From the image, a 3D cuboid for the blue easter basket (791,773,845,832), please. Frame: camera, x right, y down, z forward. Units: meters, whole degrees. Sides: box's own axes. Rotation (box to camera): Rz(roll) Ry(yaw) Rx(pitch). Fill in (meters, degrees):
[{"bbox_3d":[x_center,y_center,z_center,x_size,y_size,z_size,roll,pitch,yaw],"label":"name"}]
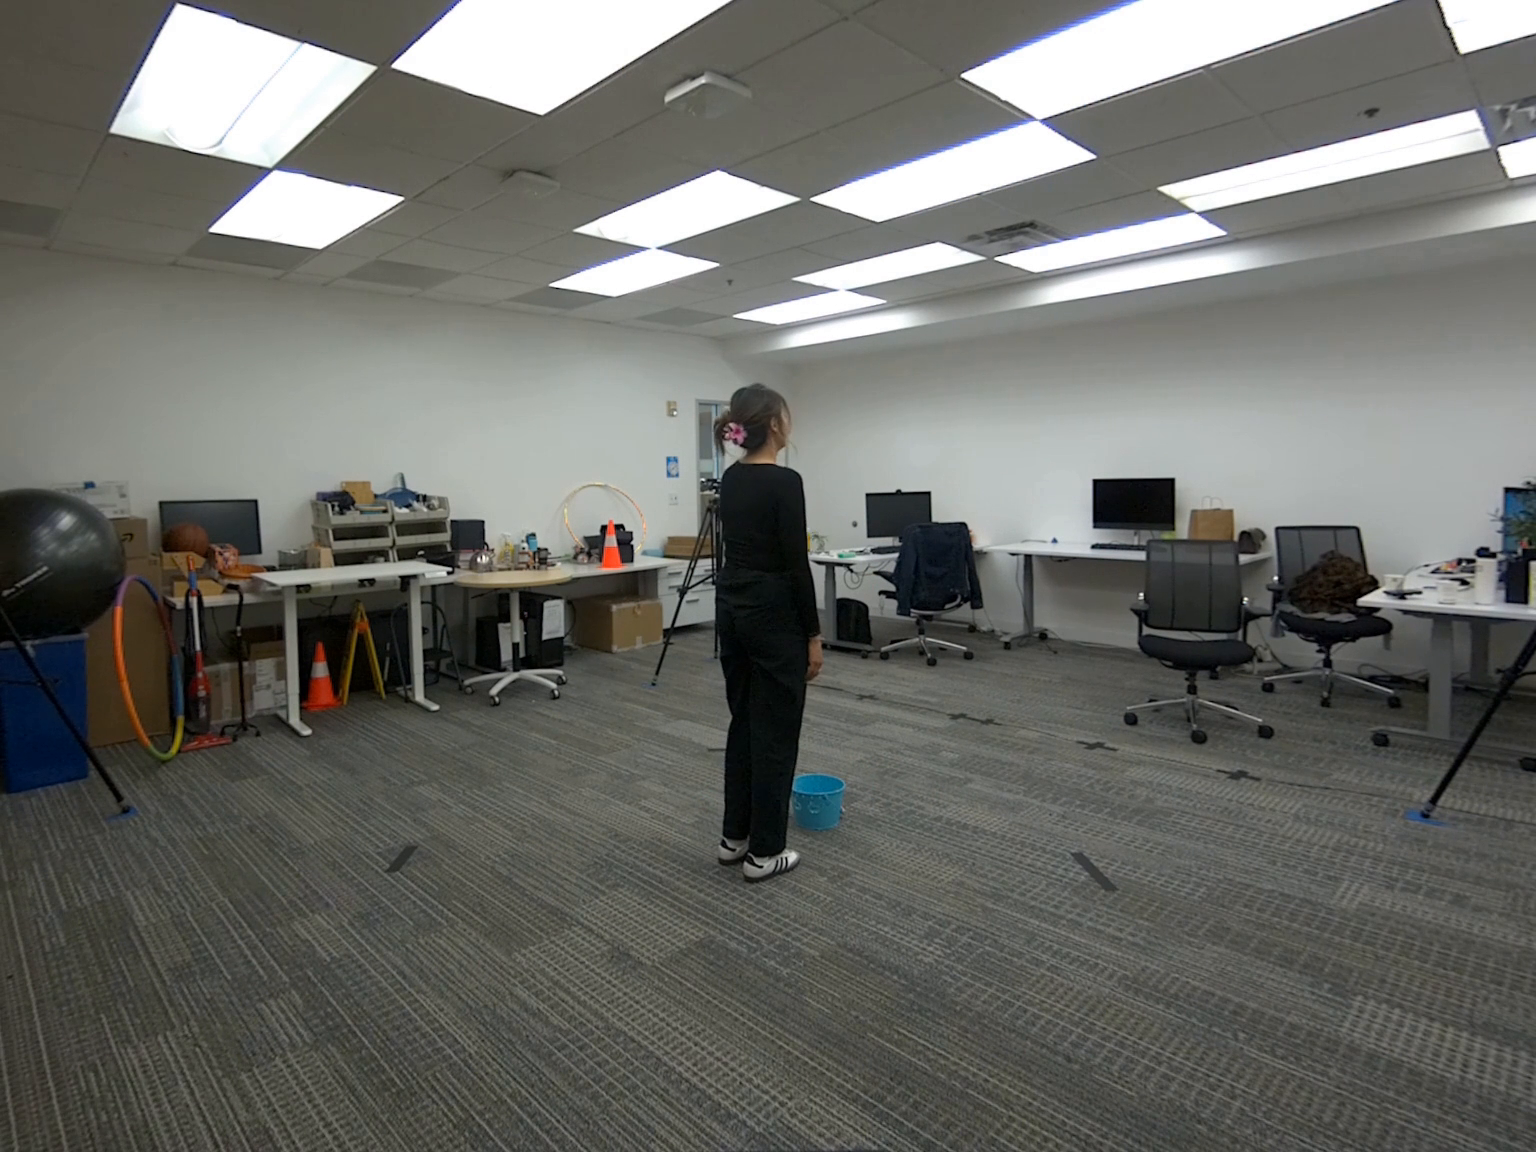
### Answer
[{"bbox_3d":[0.205,0.921,3.481,0.243,0.155,0.245,-1,6,-2],"label":"blue easter basket"}]
